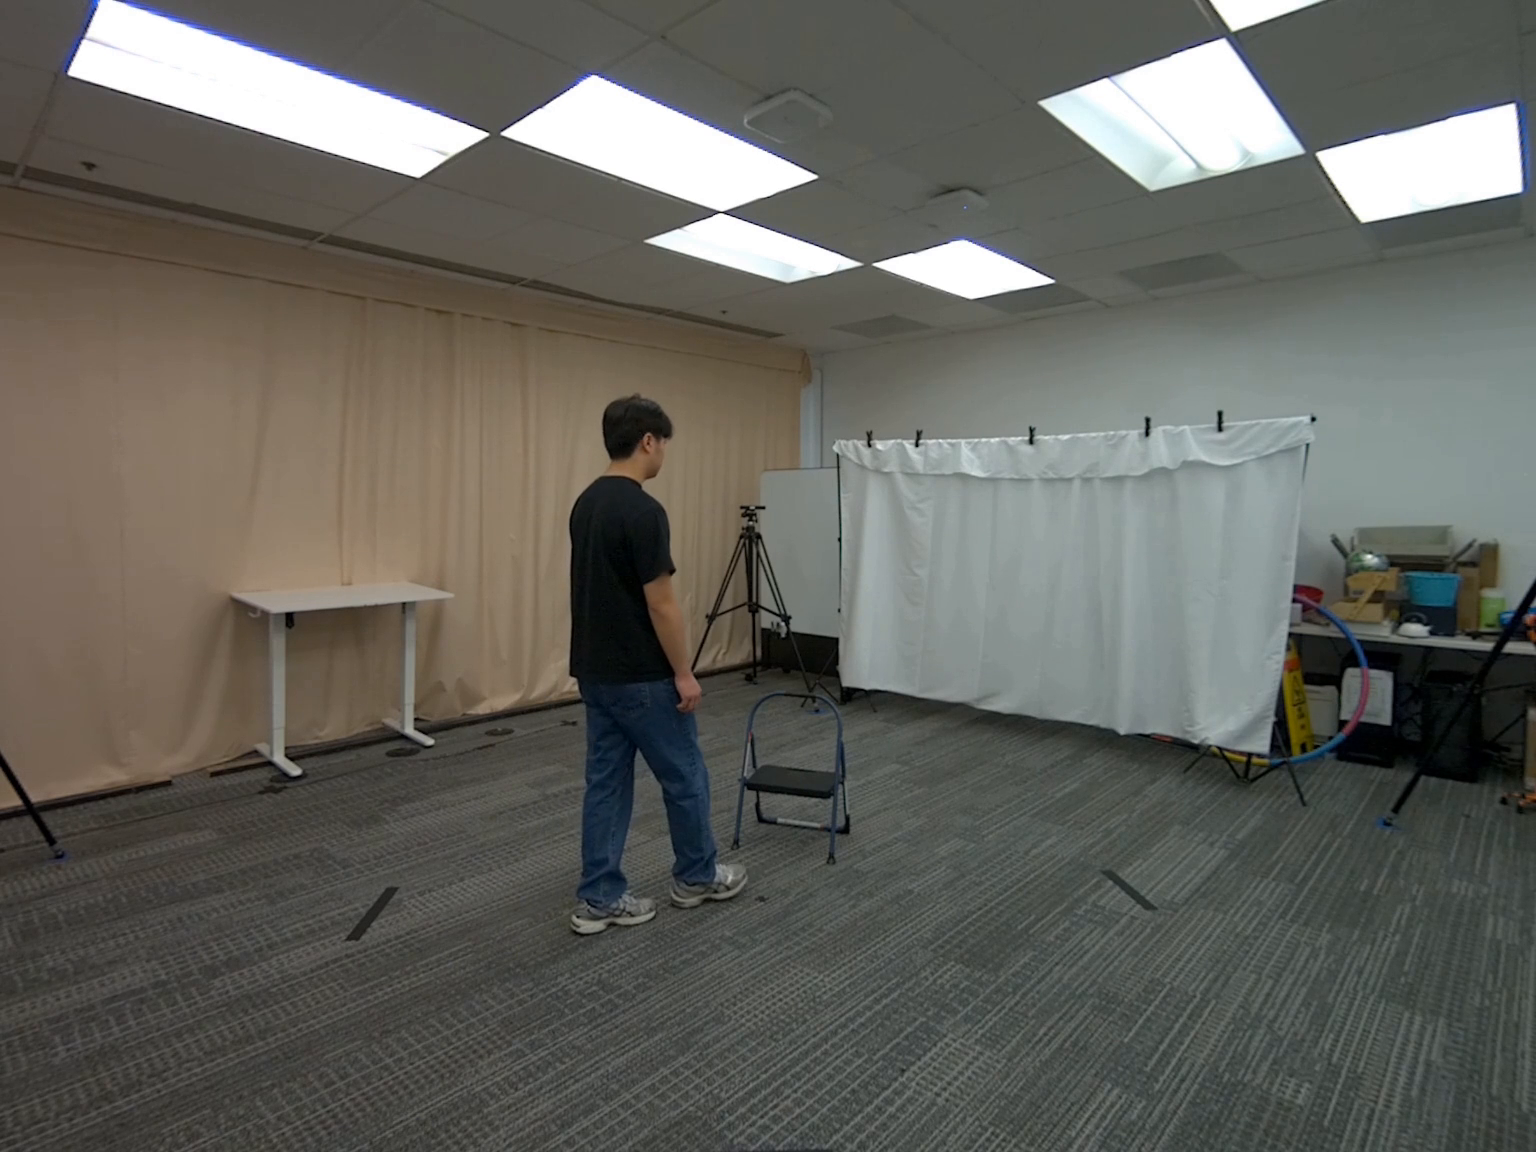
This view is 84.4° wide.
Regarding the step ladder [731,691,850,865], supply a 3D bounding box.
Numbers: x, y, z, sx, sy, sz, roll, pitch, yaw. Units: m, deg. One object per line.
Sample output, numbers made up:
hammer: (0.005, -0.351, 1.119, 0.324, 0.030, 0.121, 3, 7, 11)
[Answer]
step ladder: (0.108, 0.798, 3.488, 0.439, 0.605, 0.343, 1, 4, 19)
